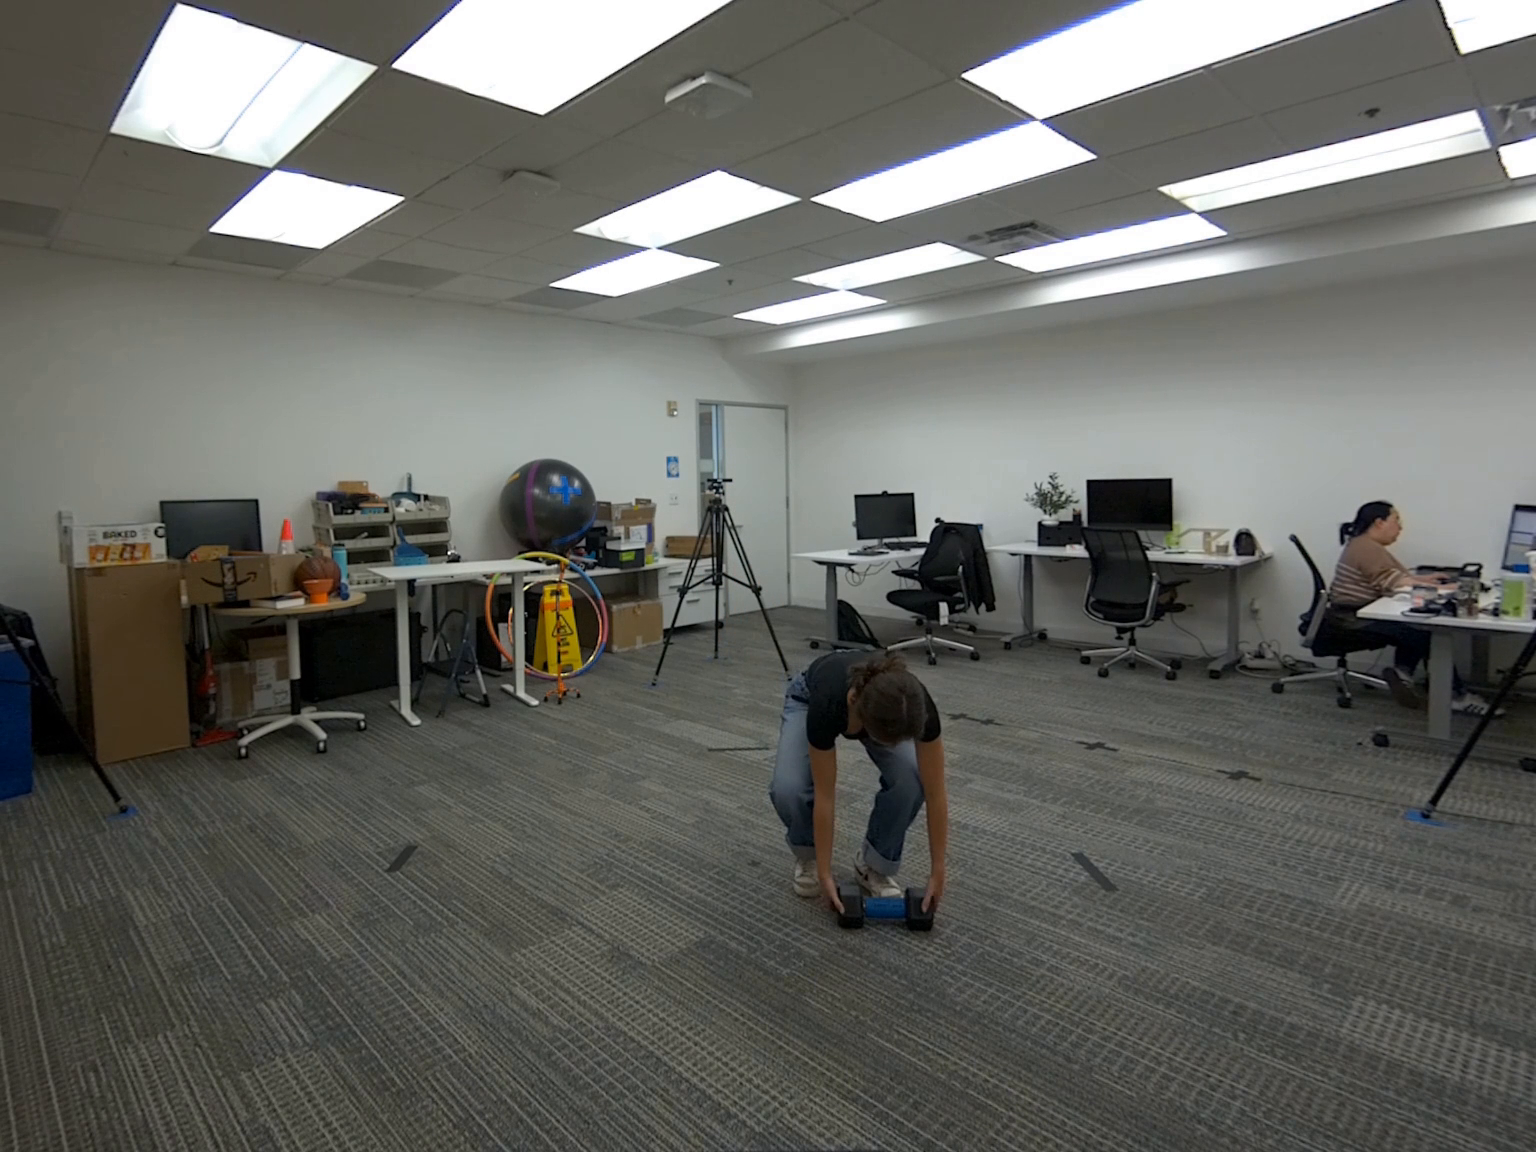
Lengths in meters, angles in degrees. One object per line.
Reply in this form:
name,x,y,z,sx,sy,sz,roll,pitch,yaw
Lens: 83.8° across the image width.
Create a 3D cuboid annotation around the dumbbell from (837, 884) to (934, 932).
dumbbell,0.364,1.032,2.673,0.295,0.119,0.111,-1,35,5
